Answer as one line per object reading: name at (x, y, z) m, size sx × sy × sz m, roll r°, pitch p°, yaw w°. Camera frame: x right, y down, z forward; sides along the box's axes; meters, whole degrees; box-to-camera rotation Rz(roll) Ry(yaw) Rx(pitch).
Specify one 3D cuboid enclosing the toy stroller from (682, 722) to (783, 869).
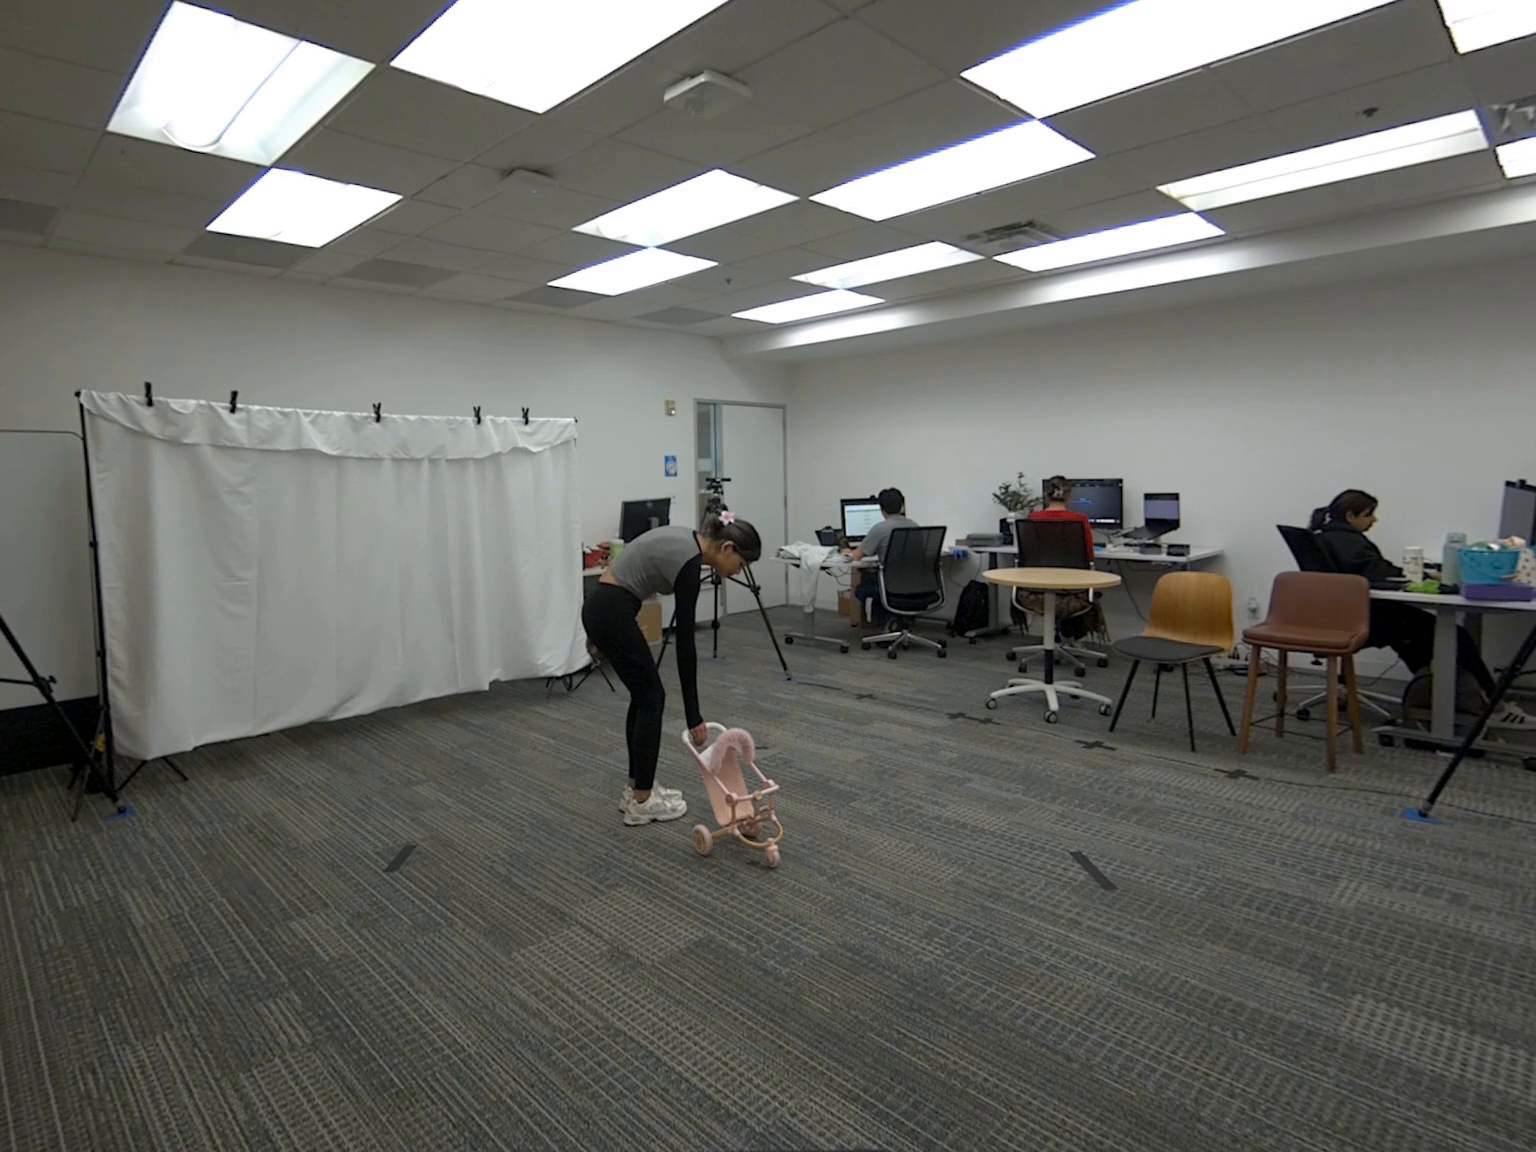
toy stroller at (-0.115, 0.808, 3.202) m, size 0.274 × 0.541 × 0.347 m, roll -4°, pitch -11°, yaw -37°
